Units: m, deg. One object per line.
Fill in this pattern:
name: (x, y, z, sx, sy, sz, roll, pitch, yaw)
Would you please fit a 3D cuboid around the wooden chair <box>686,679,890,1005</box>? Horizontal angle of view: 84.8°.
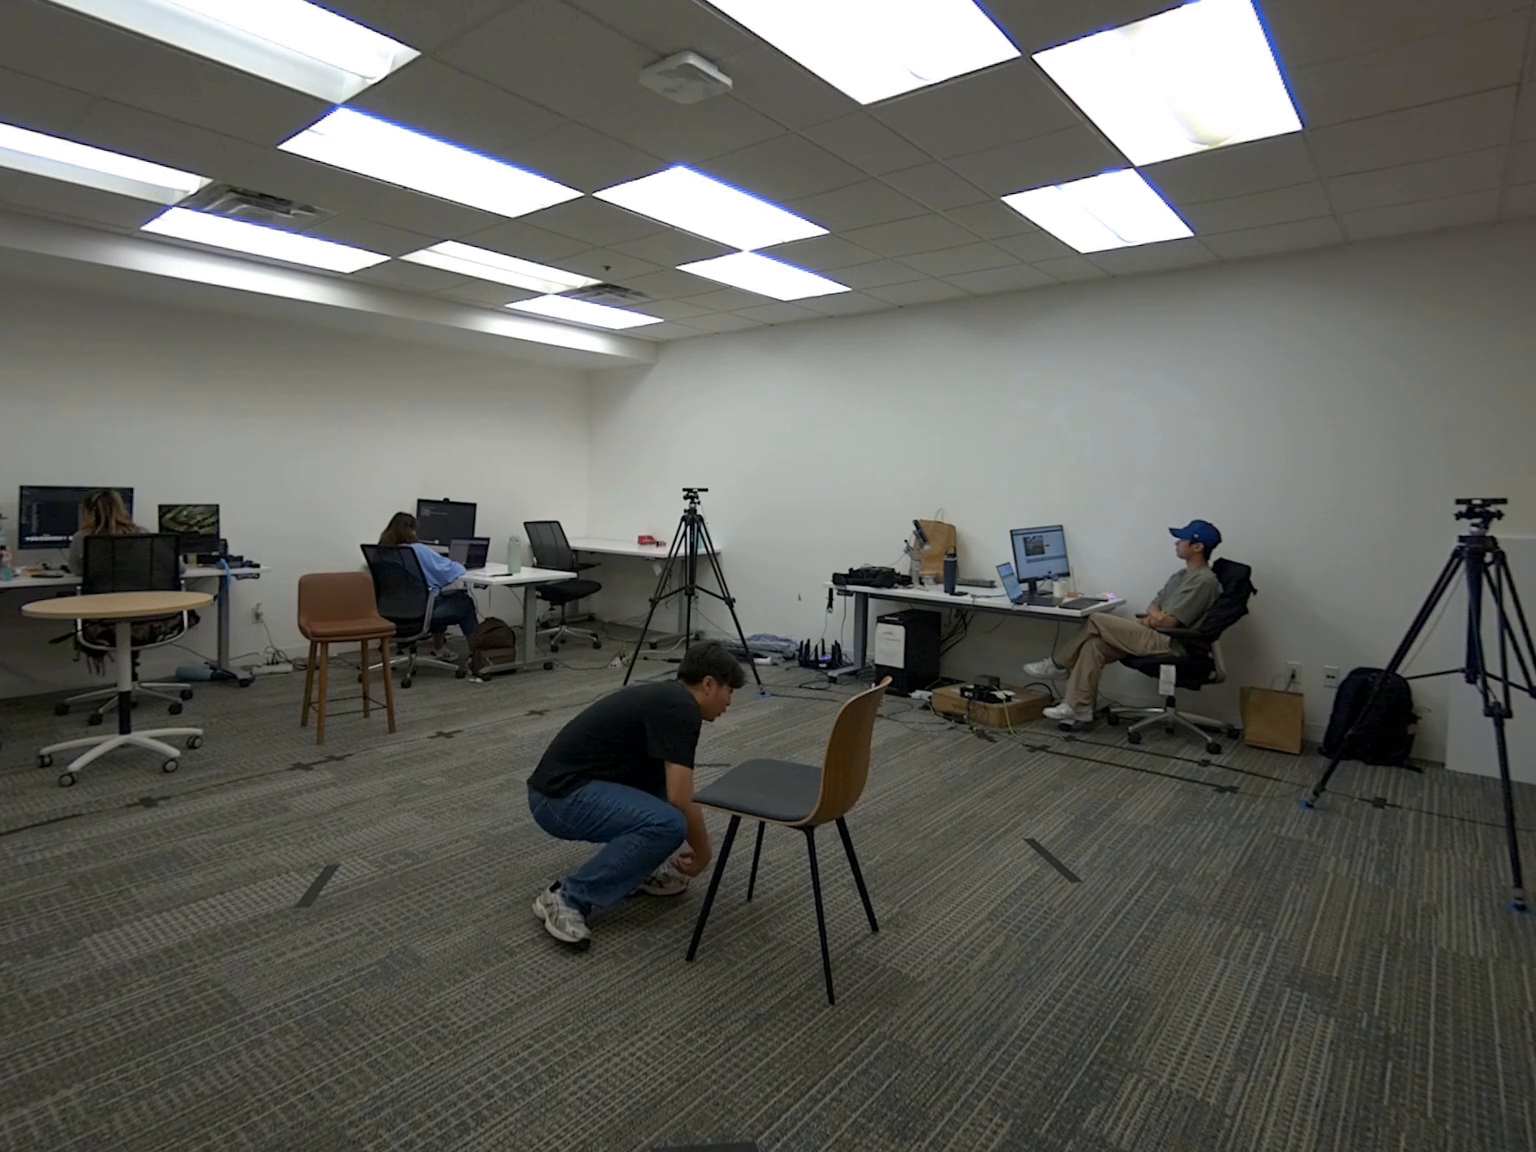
wooden chair: (0.055, 0.699, 2.577, 0.538, 0.874, 0.467, 8, 5, 25)
